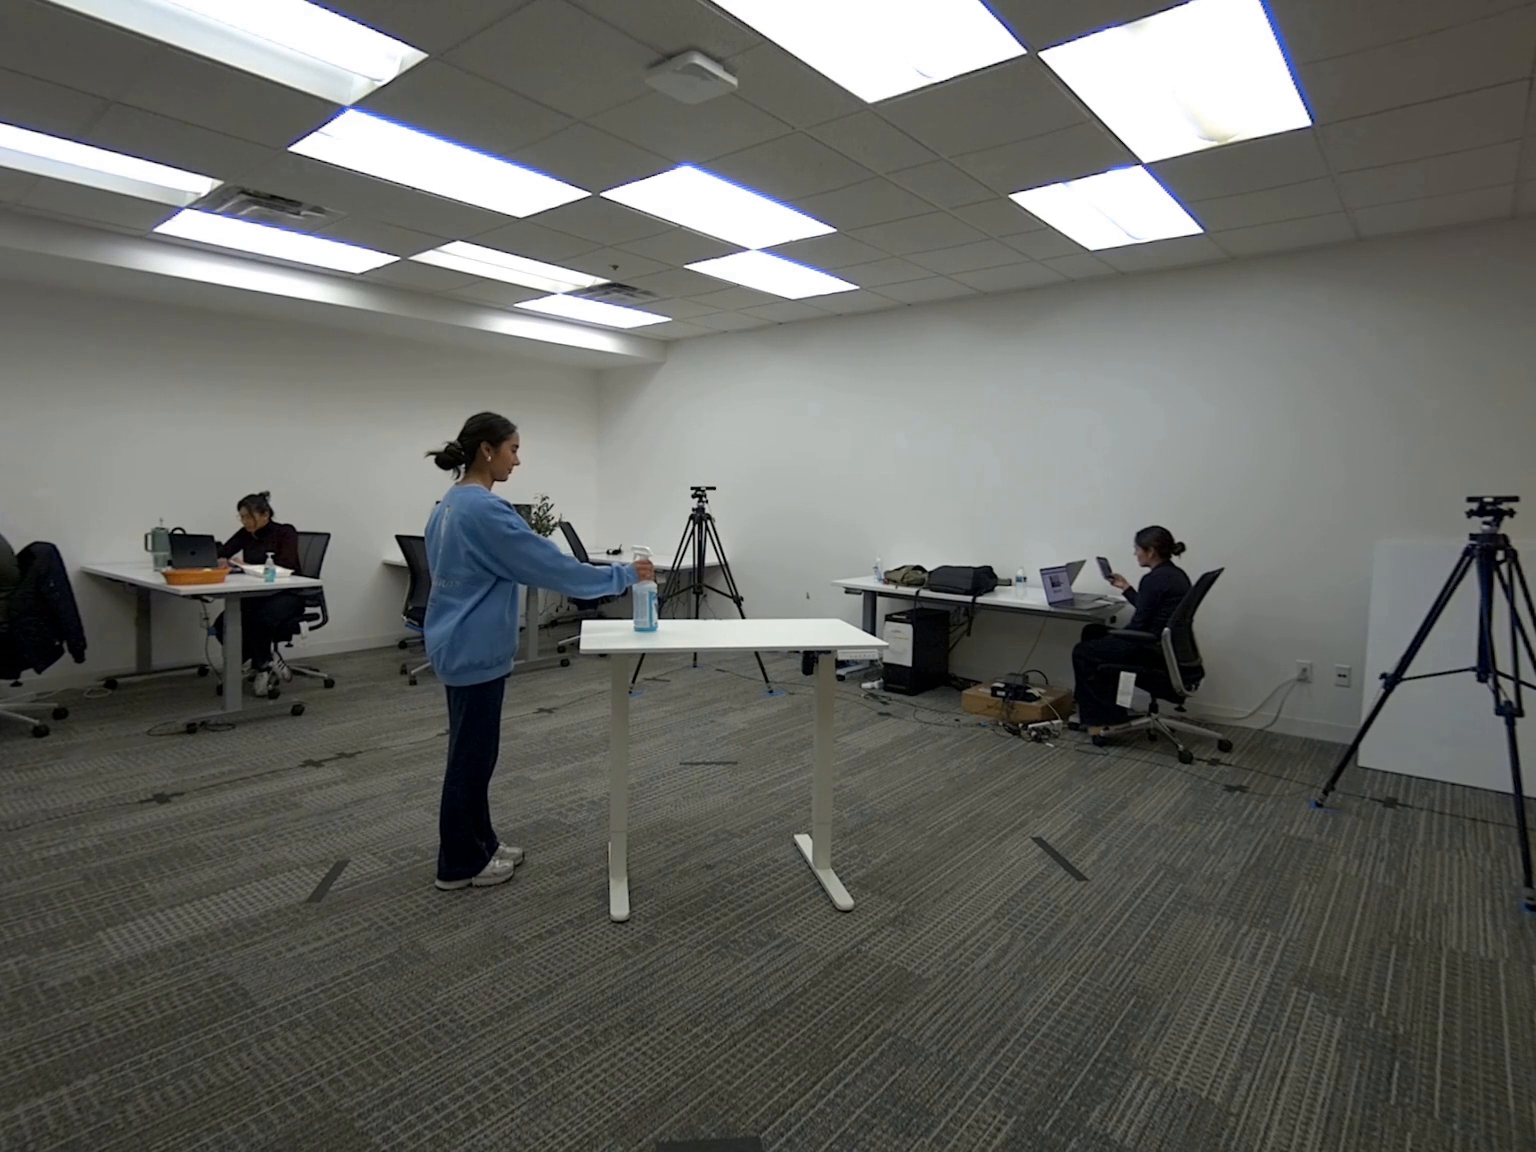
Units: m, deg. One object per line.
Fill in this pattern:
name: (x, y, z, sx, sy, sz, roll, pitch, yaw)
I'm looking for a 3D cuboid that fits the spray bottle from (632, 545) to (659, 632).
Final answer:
spray bottle: (-0.455, 0.039, 2.988, 0.085, 0.296, 0.093, -4, 4, -32)
